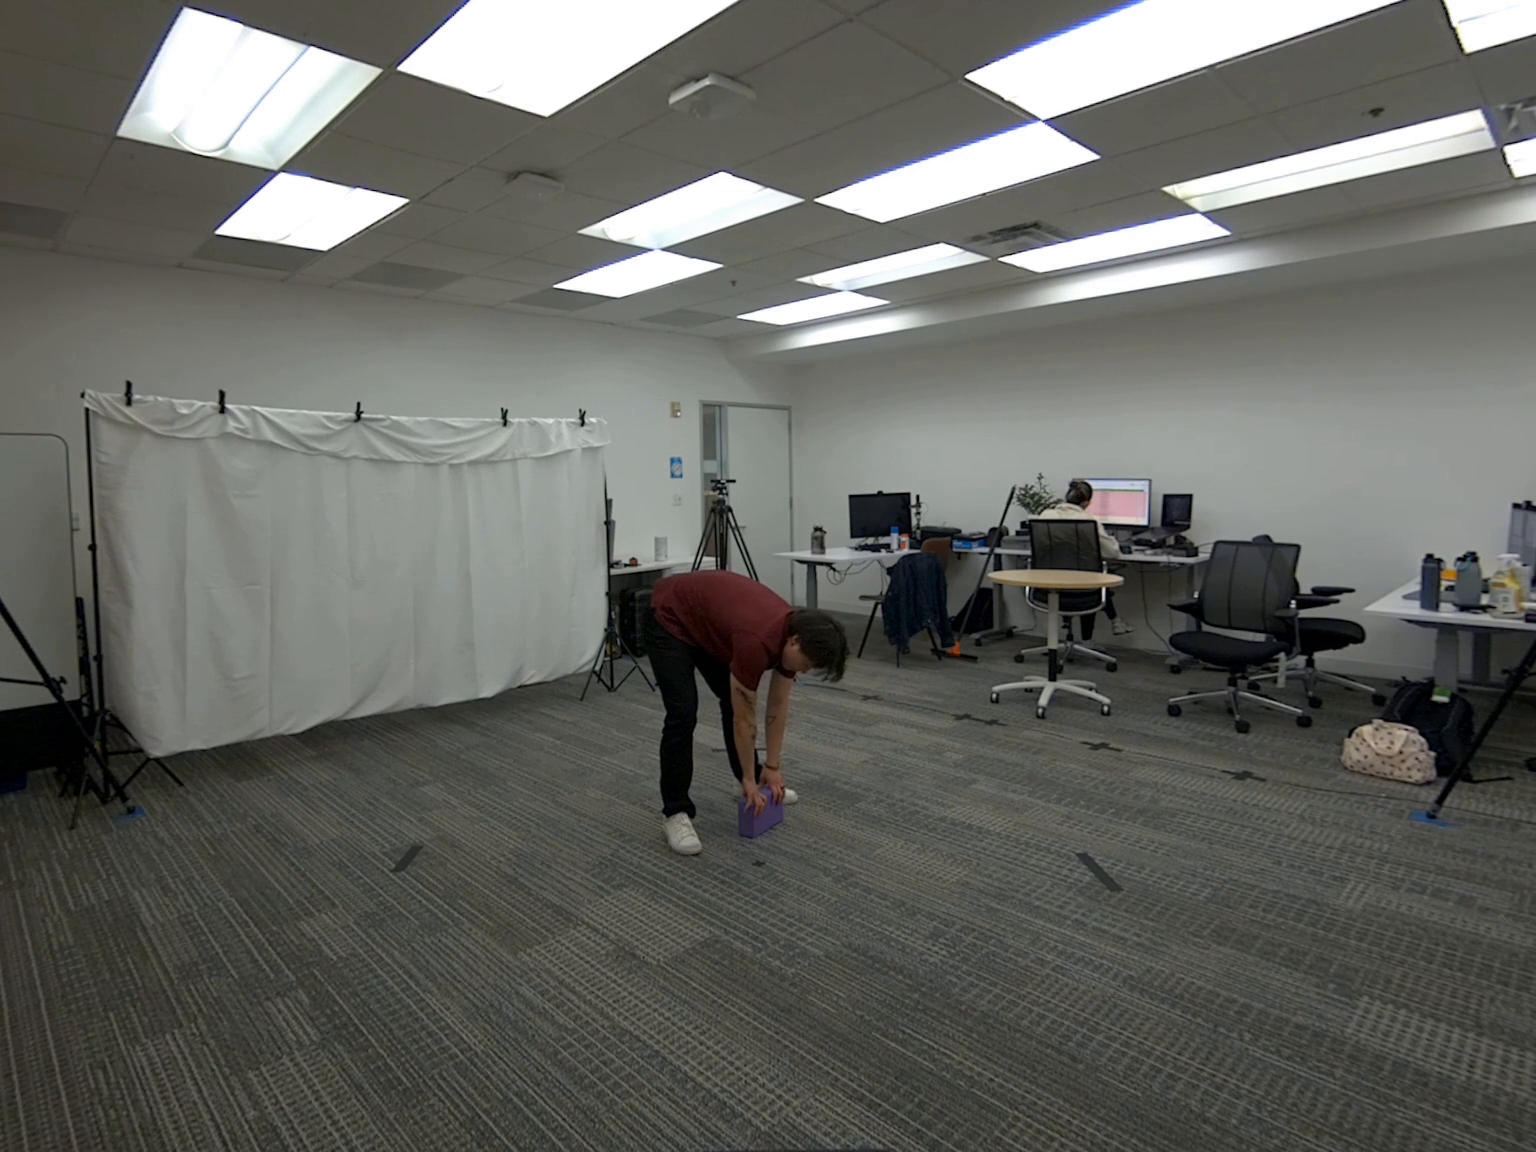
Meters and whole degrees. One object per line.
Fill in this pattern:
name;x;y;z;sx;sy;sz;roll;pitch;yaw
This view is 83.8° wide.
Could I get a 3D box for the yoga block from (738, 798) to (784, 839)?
yoga block;-0.035;0.940;3.434;0.078;0.149;0.224;-4;3;34
